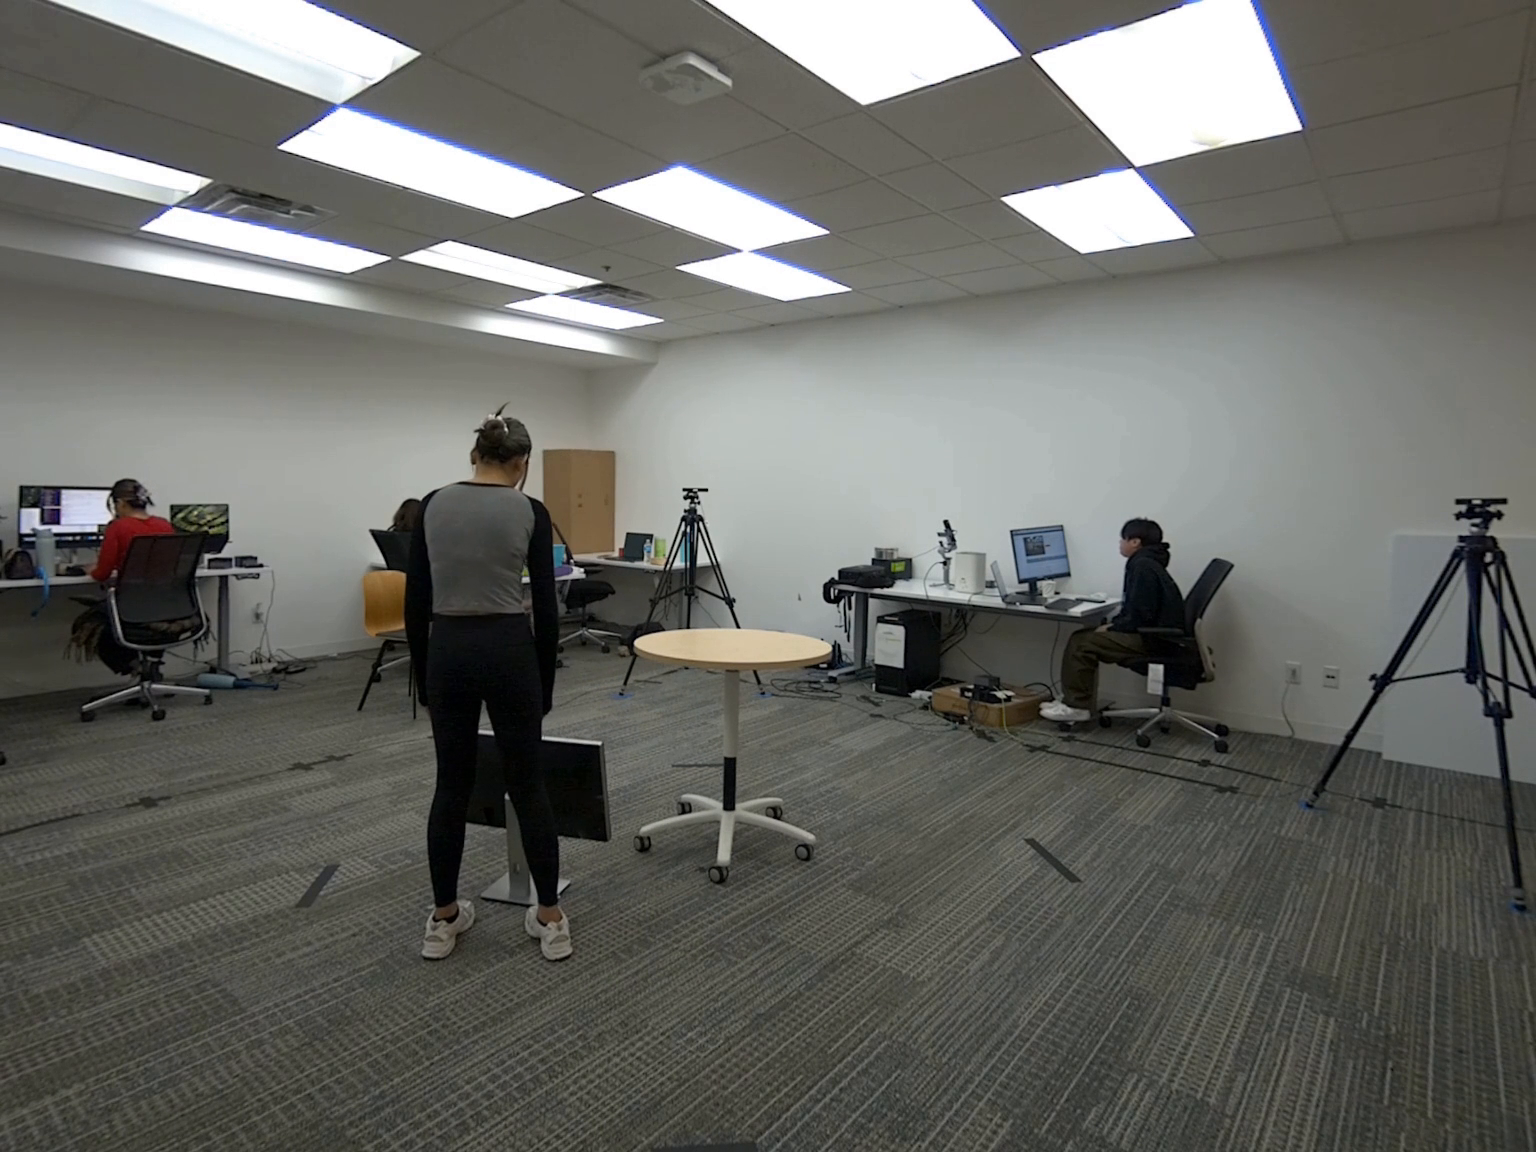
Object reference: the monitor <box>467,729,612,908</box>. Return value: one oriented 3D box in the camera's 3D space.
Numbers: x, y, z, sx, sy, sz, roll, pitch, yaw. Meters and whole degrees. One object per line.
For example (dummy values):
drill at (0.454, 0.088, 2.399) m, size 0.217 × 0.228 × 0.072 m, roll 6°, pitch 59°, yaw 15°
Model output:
monitor at (-0.835, 0.815, 2.898) m, size 0.547 × 0.522 × 0.184 m, roll 1°, pitch 2°, yaw 14°
